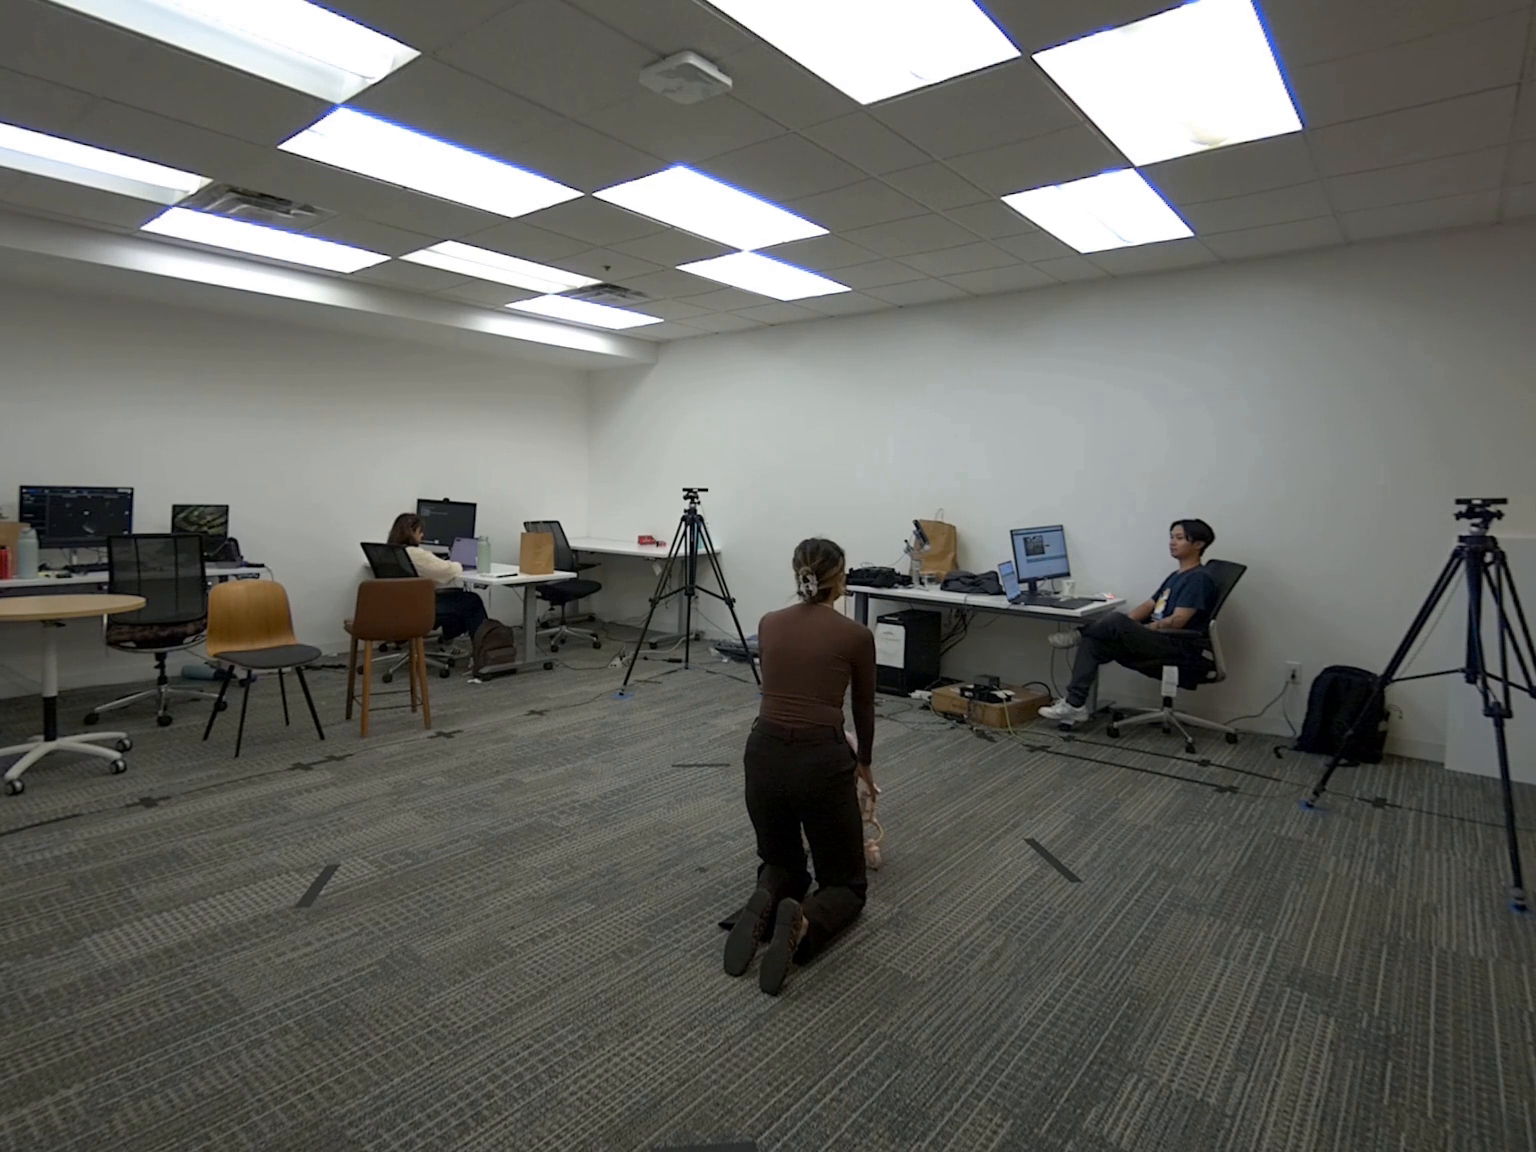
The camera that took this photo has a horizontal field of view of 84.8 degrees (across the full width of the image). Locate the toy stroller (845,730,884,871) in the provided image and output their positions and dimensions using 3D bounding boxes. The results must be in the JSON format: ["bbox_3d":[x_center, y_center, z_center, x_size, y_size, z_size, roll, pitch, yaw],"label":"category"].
[{"bbox_3d":[0.270,0.830,3.295,0.274,0.541,0.347,-2,-10,-31],"label":"toy stroller"}]
